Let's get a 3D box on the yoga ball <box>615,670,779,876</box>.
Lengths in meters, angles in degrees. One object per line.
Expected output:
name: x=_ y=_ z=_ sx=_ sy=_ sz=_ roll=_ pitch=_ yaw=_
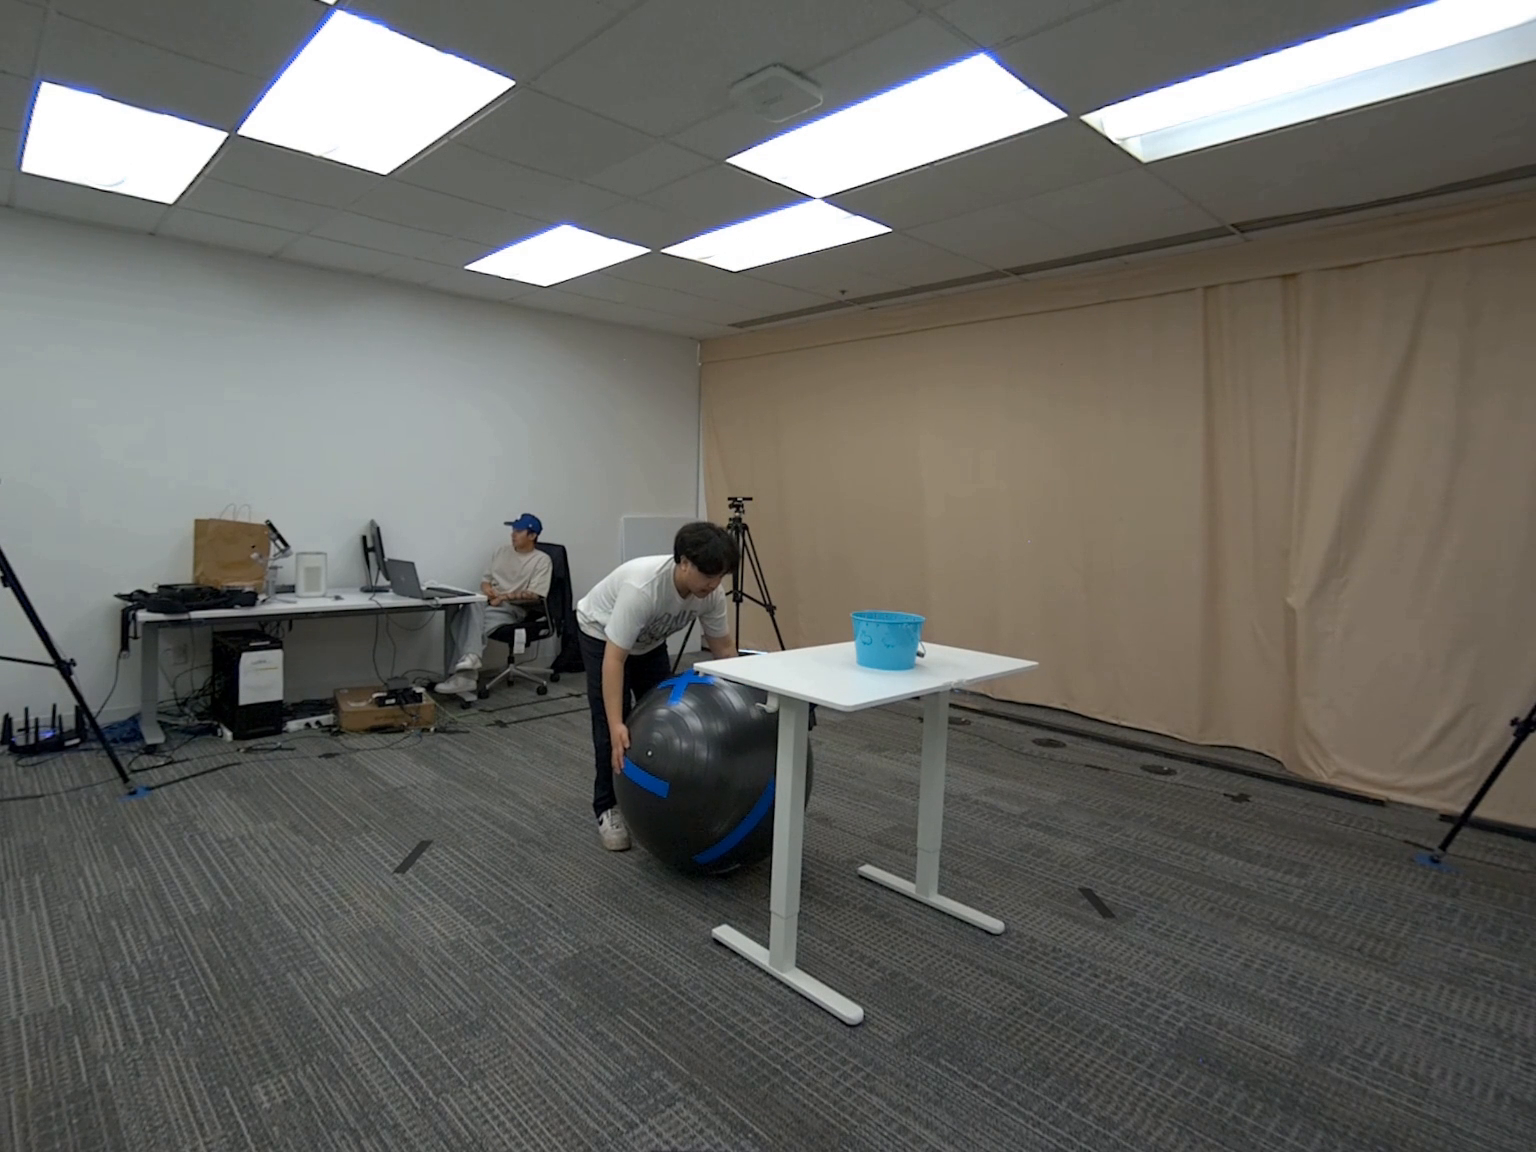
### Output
yoga ball: x=-0.212 y=0.736 z=3.184 sx=0.757 sy=0.756 sz=0.761 roll=1 pitch=4 yaw=-1
